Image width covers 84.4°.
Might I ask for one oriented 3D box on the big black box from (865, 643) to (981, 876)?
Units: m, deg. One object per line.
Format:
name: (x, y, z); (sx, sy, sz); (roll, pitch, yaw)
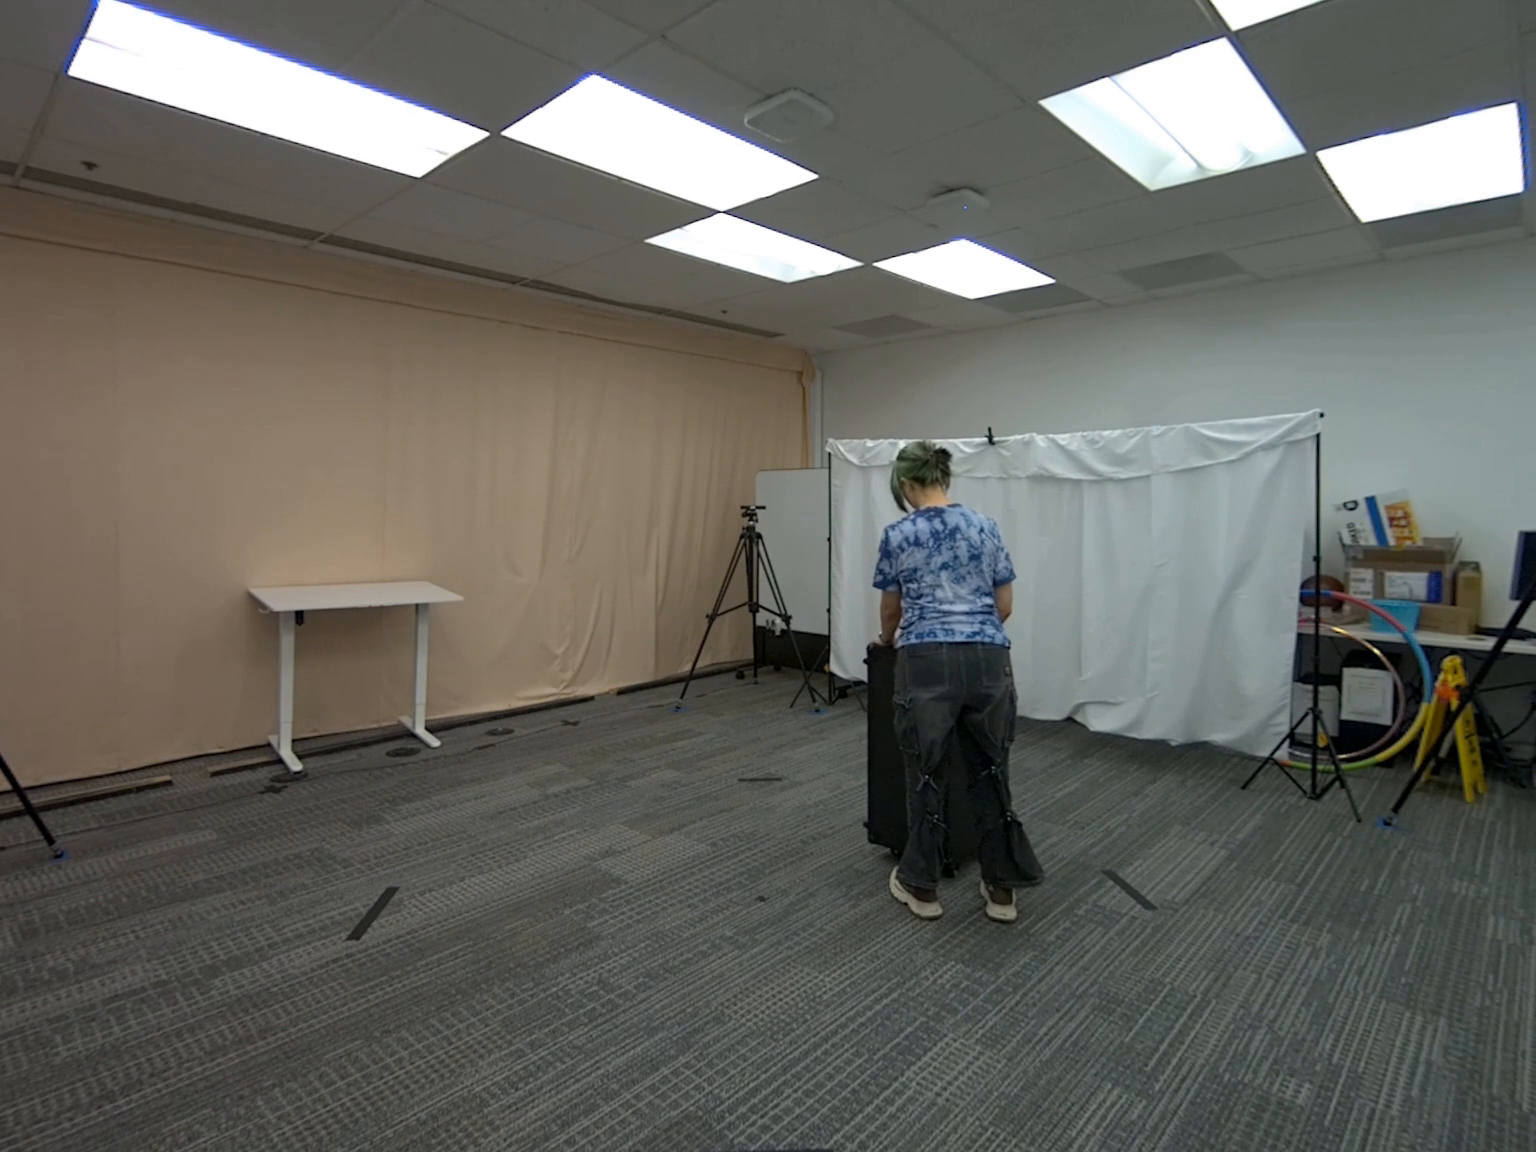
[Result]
big black box: (0.671, 0.688, 3.352); (0.409, 0.860, 0.505); (1, 3, 43)
